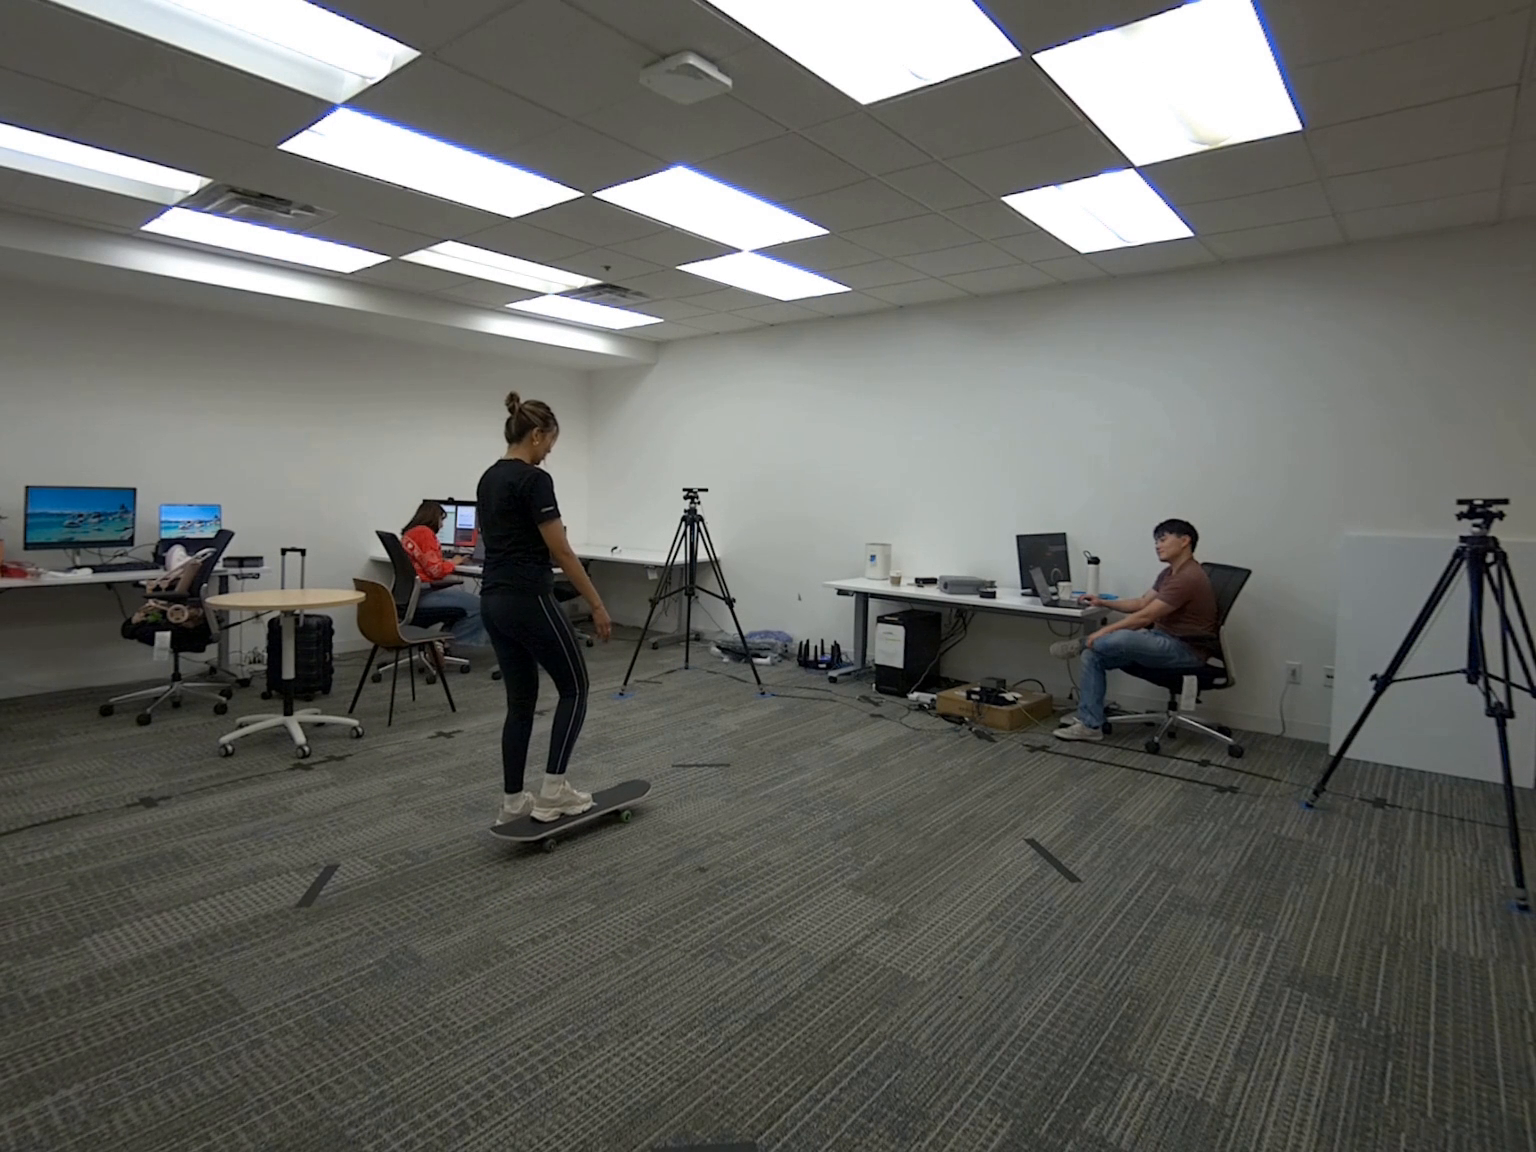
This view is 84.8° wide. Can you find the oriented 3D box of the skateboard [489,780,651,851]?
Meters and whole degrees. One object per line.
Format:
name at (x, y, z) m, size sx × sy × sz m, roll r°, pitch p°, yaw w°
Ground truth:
skateboard at (-0.793, 0.977, 3.435) m, size 0.200 × 0.110 × 0.763 m, roll 4°, pitch 7°, yaw 38°
